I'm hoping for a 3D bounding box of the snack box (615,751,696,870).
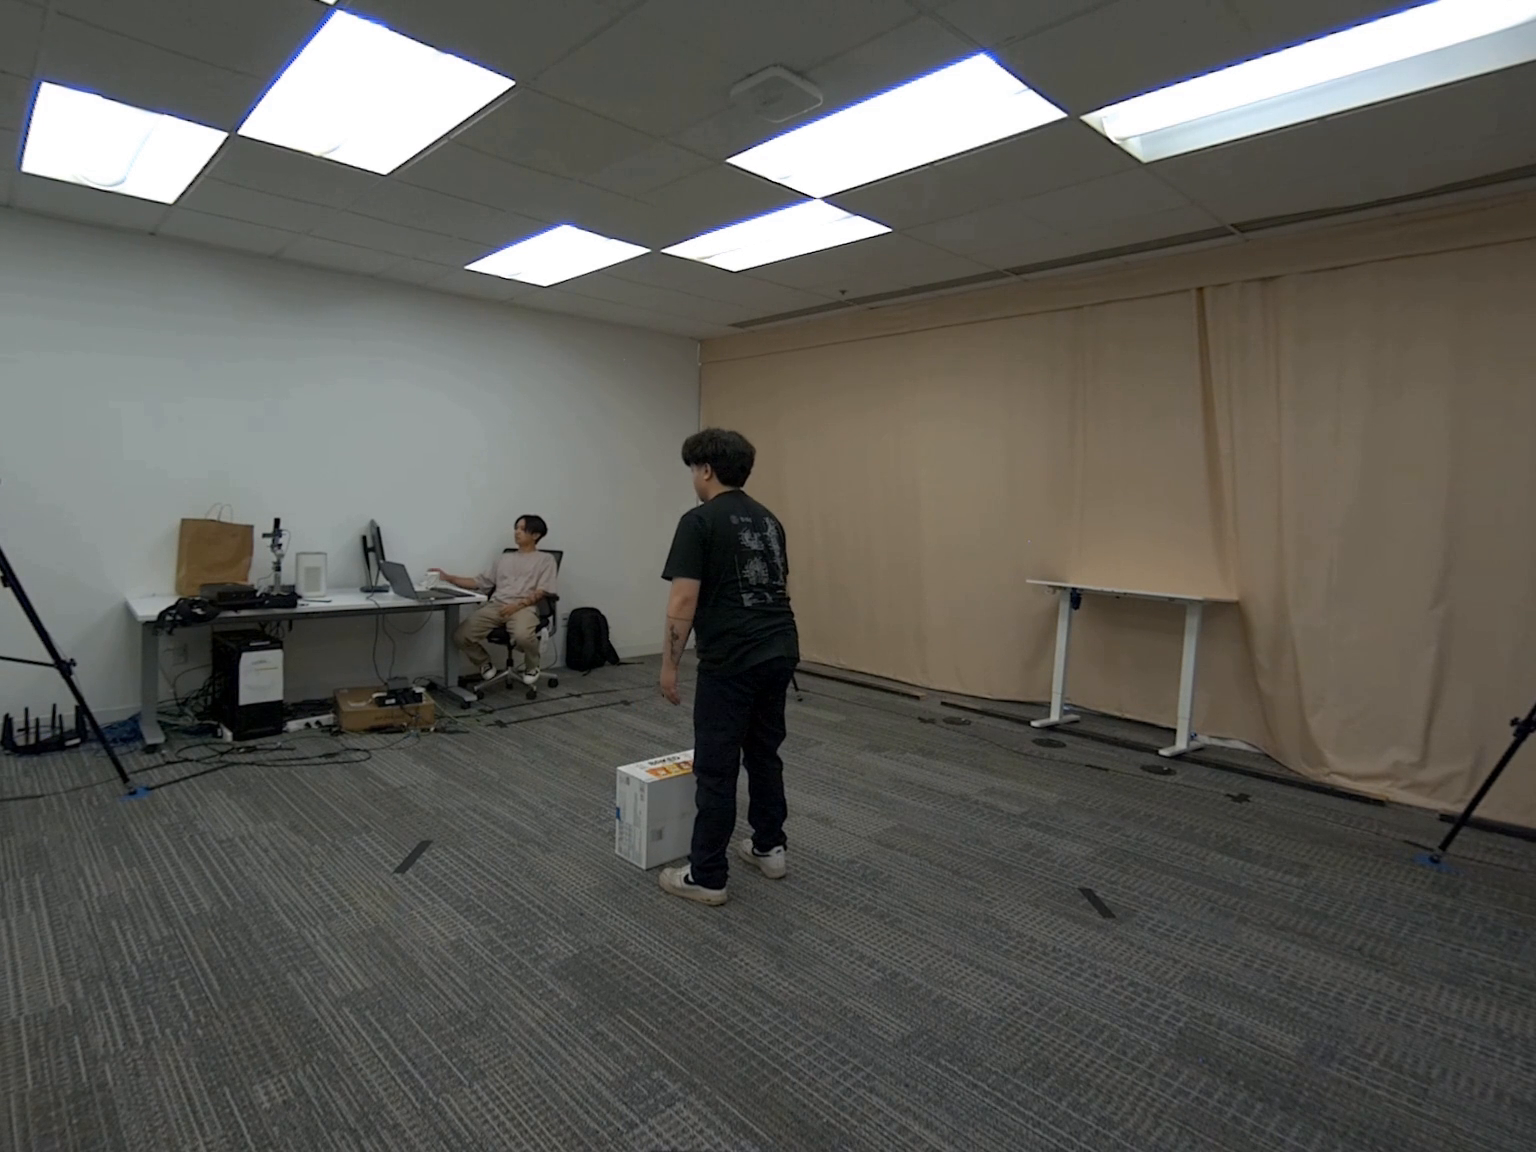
[{"bbox_3d":[-0.387,0.912,3.331,0.396,0.339,0.211,-3,6,-43],"label":"snack box"}]
